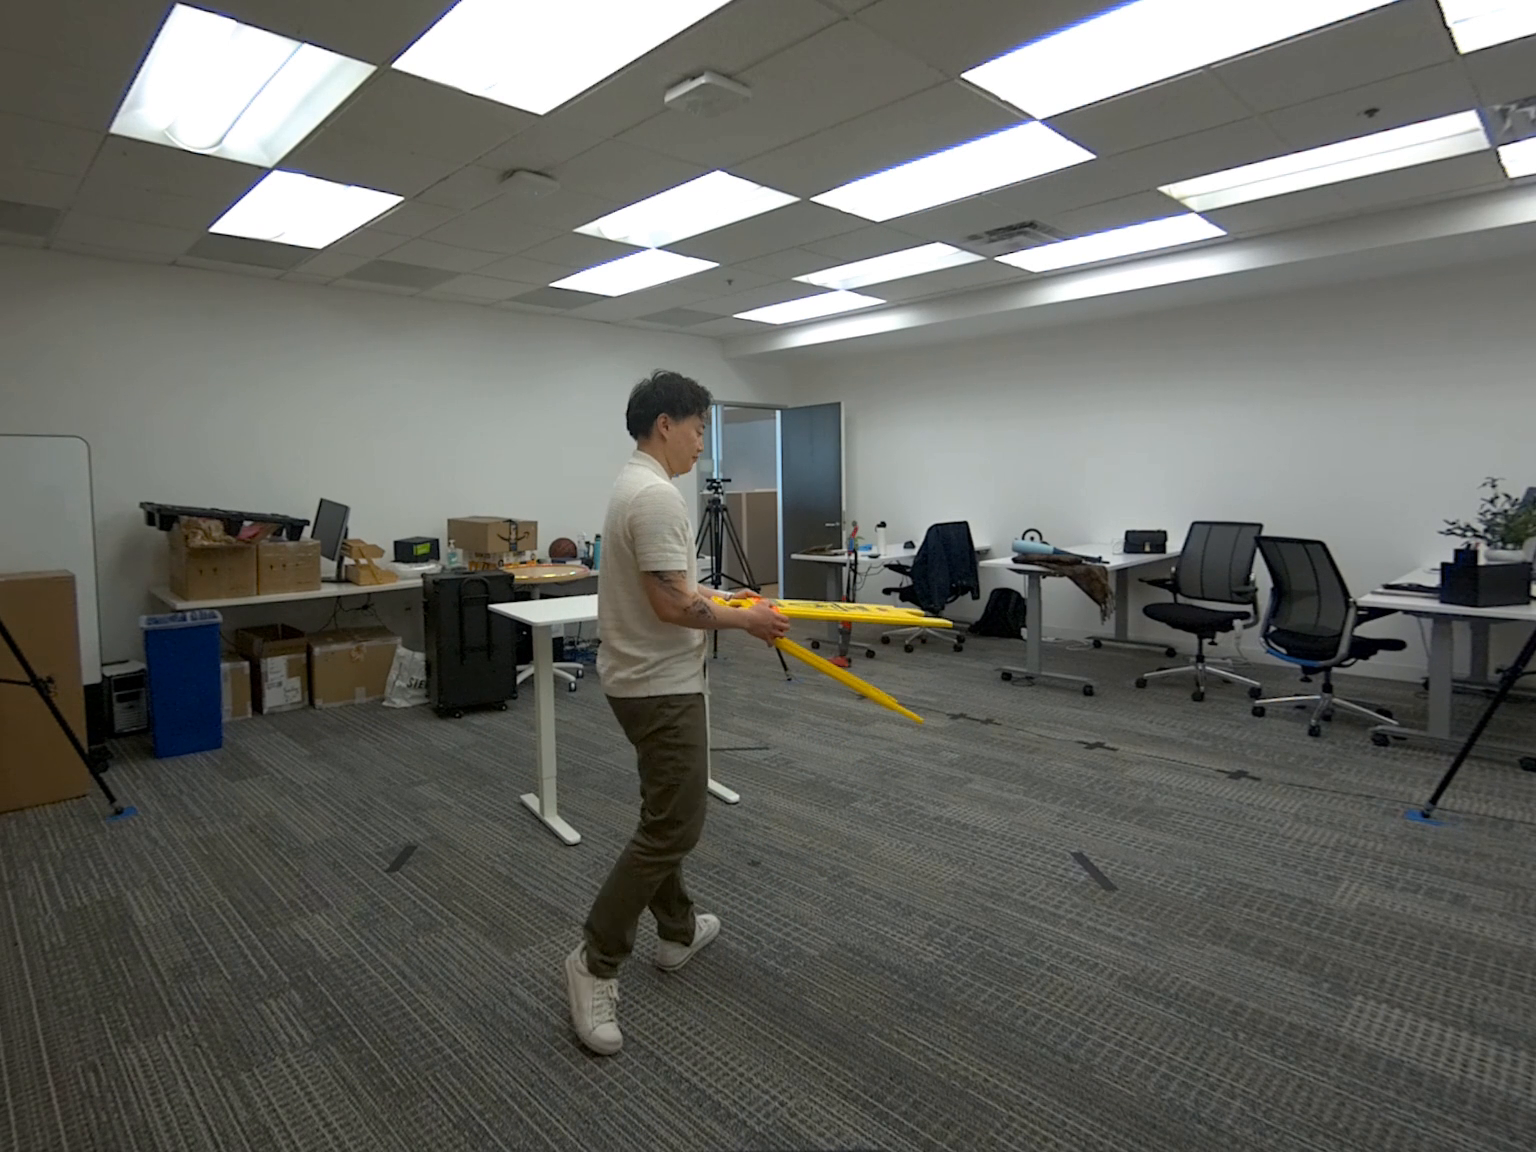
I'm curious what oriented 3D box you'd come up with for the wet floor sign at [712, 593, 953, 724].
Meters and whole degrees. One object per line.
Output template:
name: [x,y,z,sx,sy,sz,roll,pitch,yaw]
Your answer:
wet floor sign: [0.143,0.168,2.474,0.640,0.289,0.285,17,1,-8]
